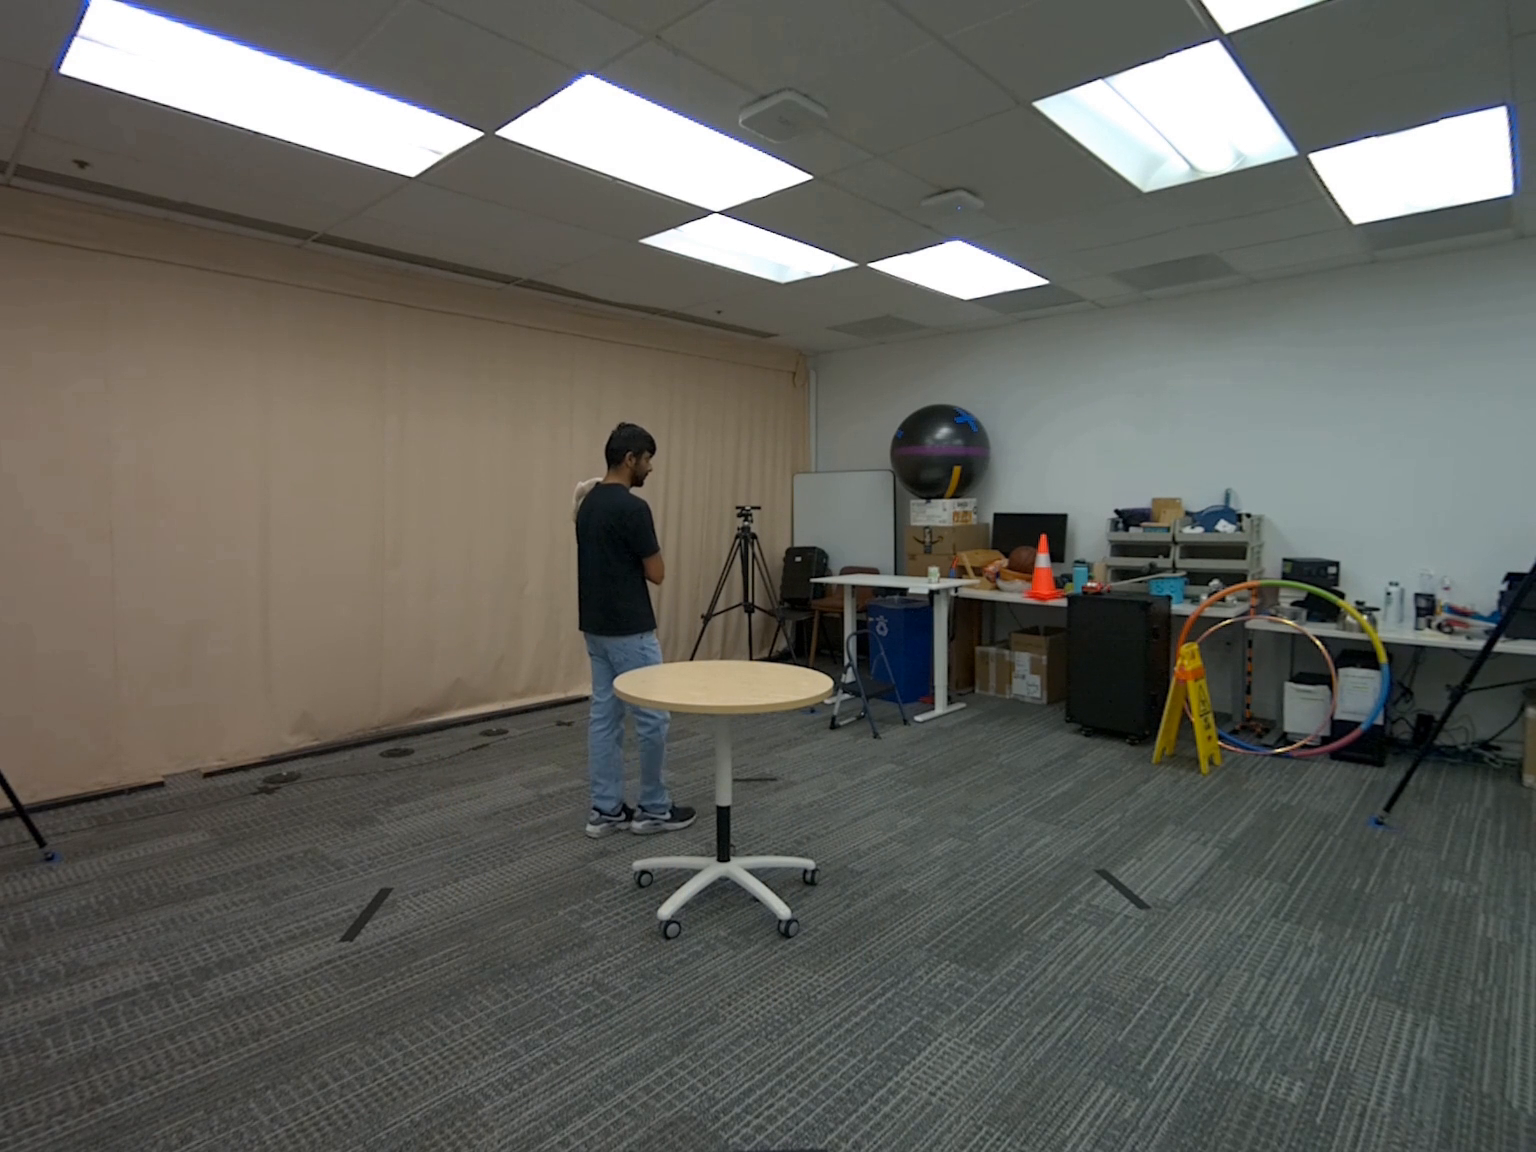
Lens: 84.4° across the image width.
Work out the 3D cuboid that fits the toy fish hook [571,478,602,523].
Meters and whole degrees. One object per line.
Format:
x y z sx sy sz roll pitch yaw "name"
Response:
-0.739 -0.180 3.700 0.221 0.502 0.049 -14 11 -19 "toy fish hook"
